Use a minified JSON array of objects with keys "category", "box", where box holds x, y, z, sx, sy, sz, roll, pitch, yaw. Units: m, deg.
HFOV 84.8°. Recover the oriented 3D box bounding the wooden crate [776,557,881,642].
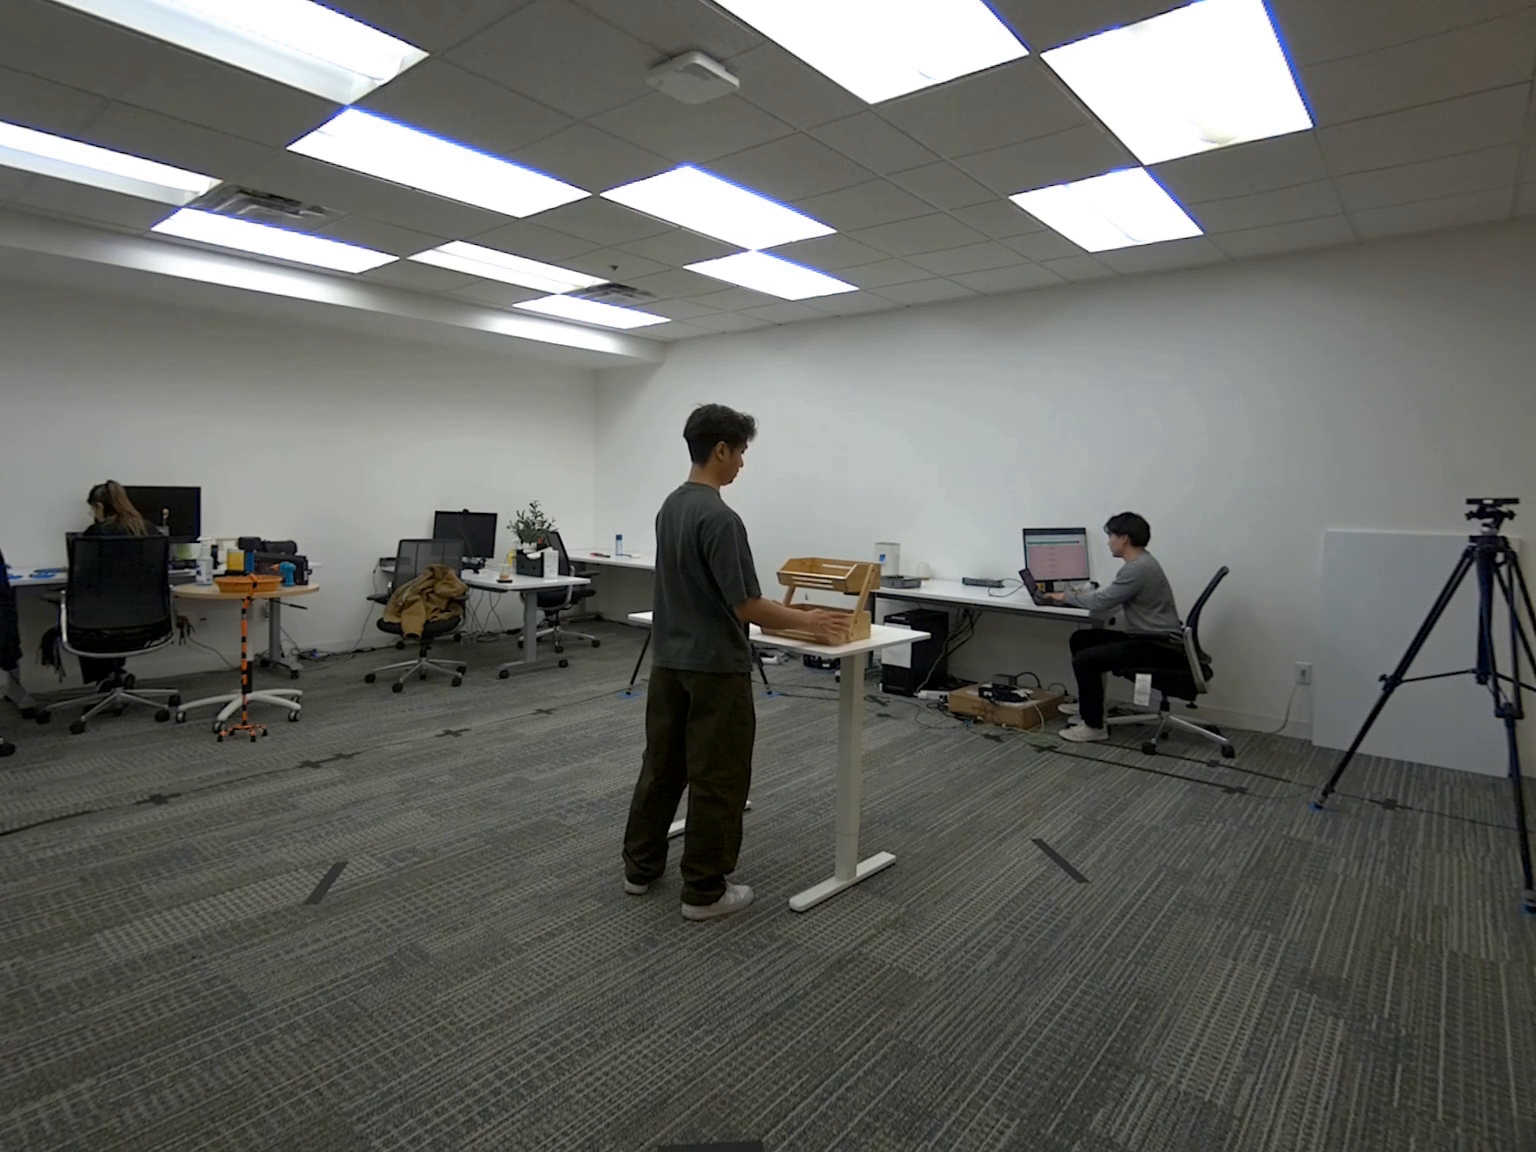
[{"category":"wooden crate","box":[0.172,0.075,2.983,0.336,0.272,0.293,6,6,41]}]
